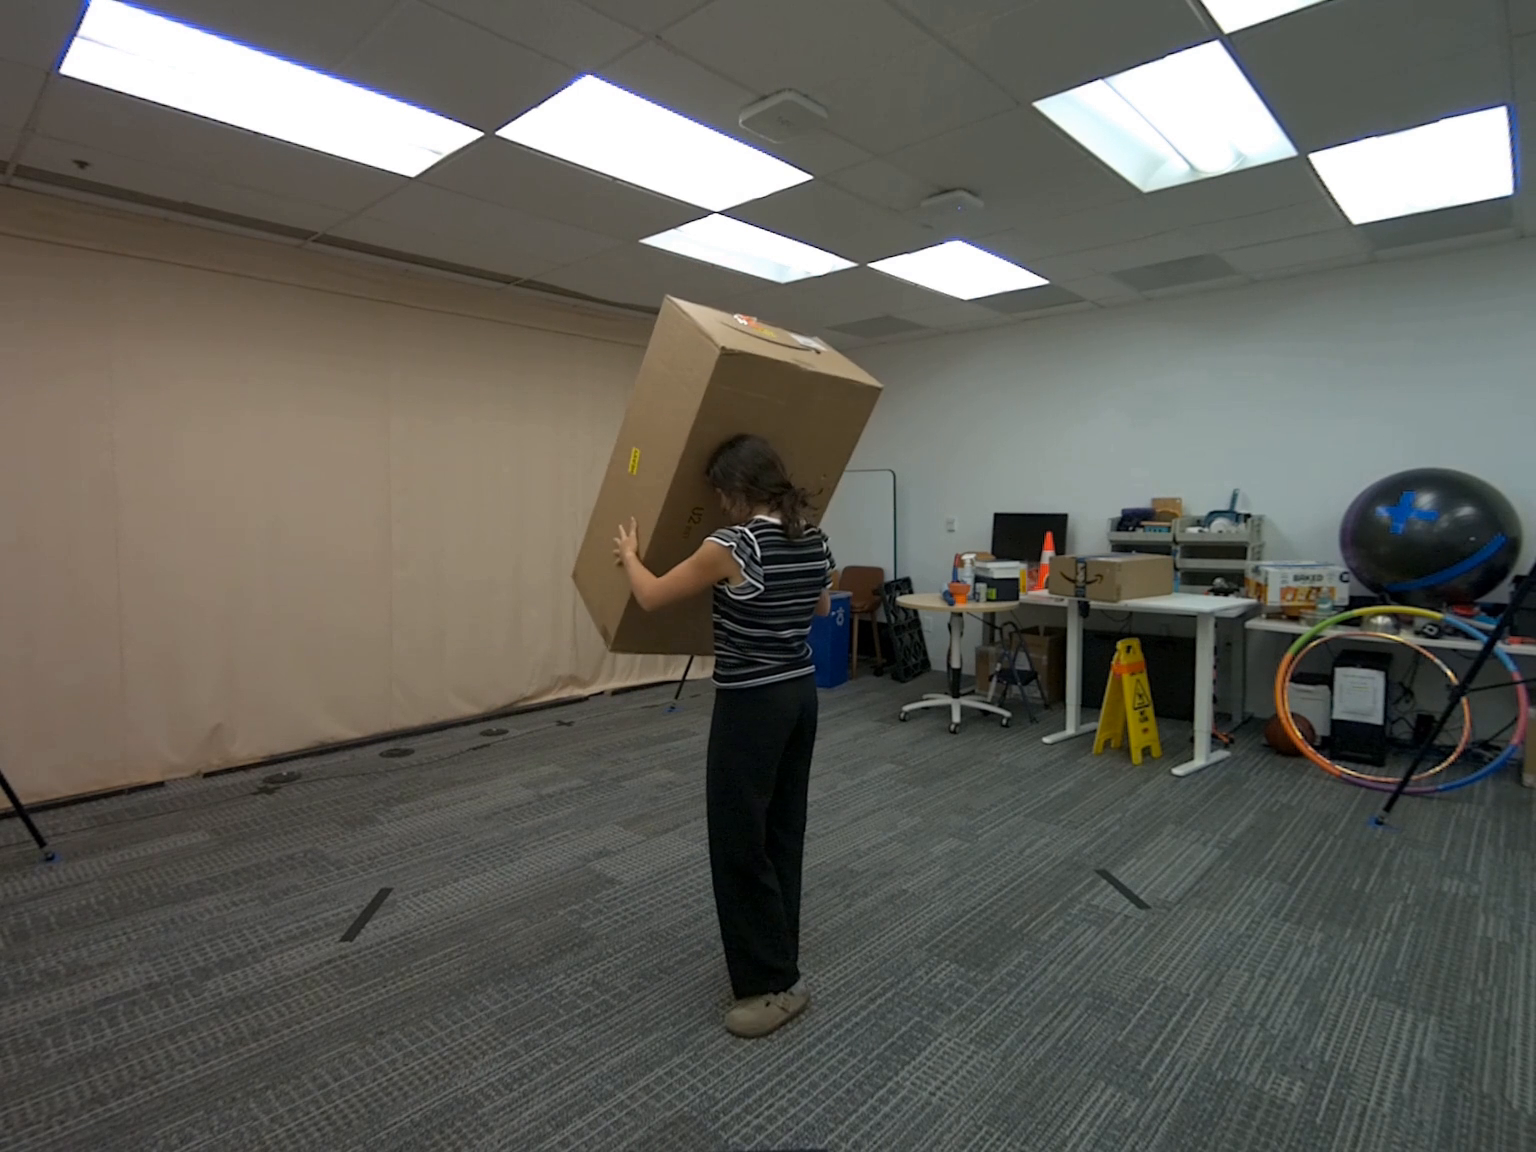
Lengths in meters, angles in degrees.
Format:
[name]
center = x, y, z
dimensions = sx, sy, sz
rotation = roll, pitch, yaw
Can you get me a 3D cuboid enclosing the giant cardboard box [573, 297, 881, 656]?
[giant cardboard box]
center = -0.167, -0.274, 2.701
dimensions = 0.560, 1.022, 0.441
rotation = 6, 31, -34
